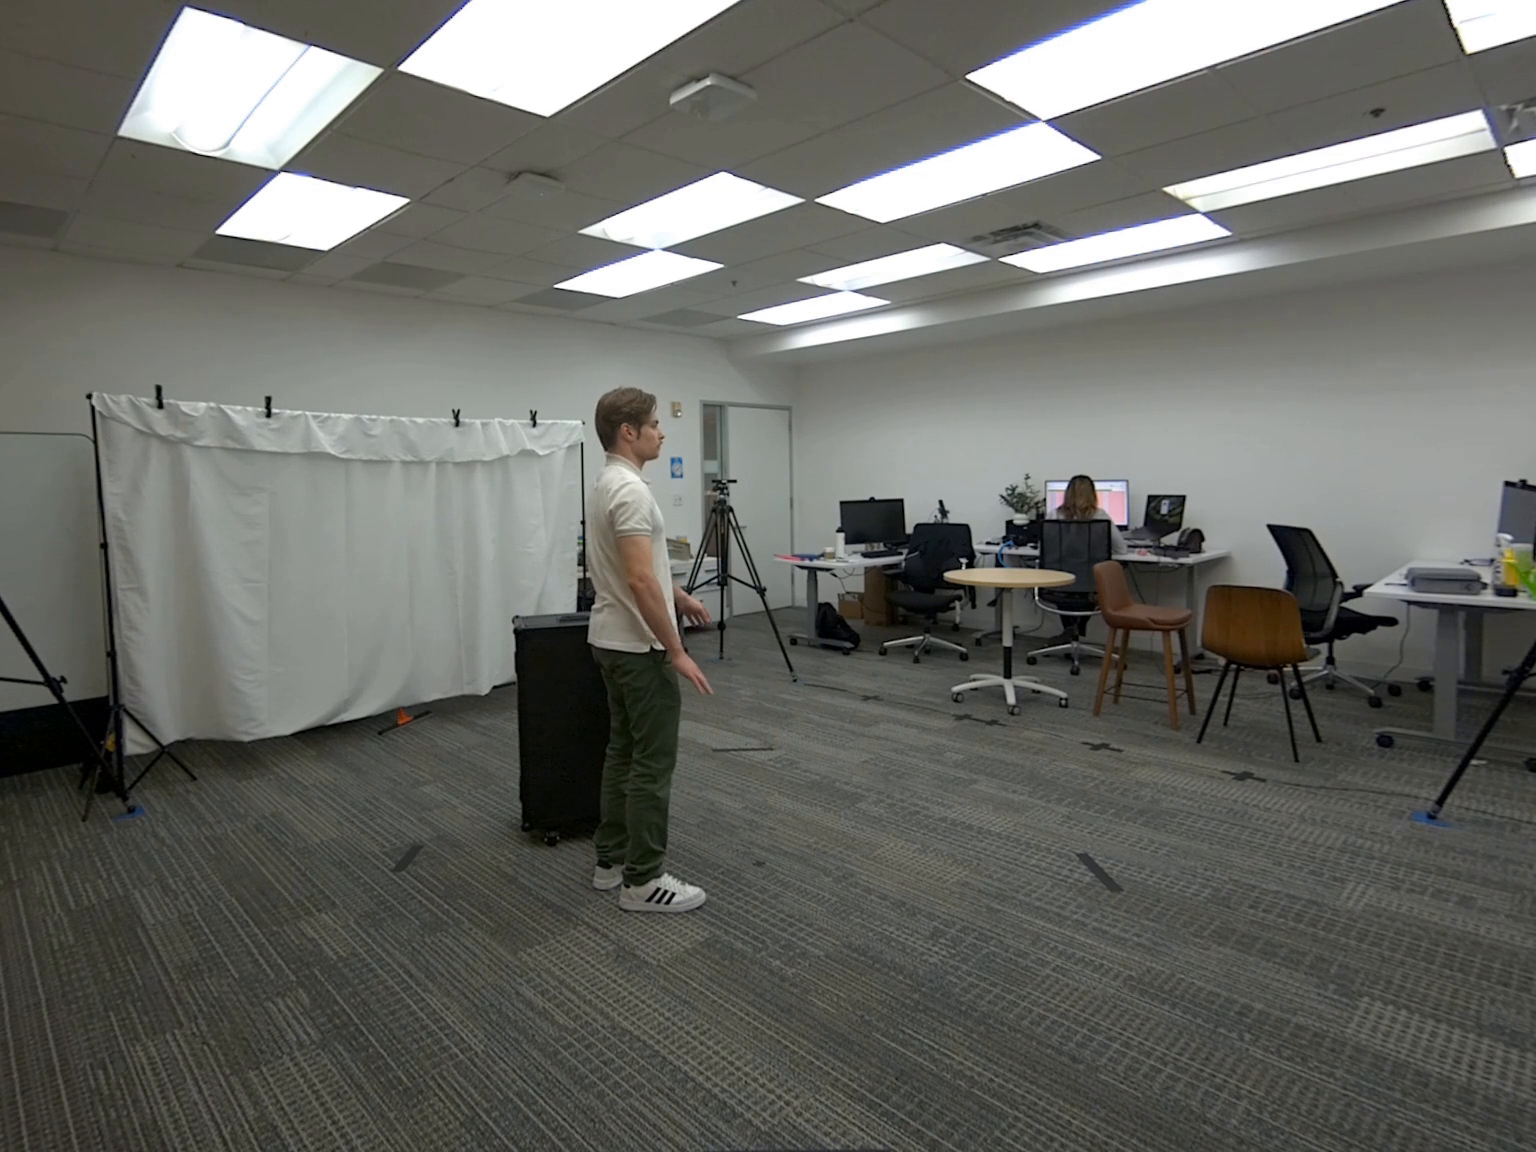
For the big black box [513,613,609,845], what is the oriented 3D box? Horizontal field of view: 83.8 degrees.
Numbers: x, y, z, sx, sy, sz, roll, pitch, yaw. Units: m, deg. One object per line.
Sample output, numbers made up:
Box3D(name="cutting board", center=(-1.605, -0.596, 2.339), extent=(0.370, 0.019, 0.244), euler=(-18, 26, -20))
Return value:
Box3D(name="big black box", center=(-0.787, 0.601, 3.487), extent=(0.516, 0.866, 0.392), euler=(-2, 3, -17))
